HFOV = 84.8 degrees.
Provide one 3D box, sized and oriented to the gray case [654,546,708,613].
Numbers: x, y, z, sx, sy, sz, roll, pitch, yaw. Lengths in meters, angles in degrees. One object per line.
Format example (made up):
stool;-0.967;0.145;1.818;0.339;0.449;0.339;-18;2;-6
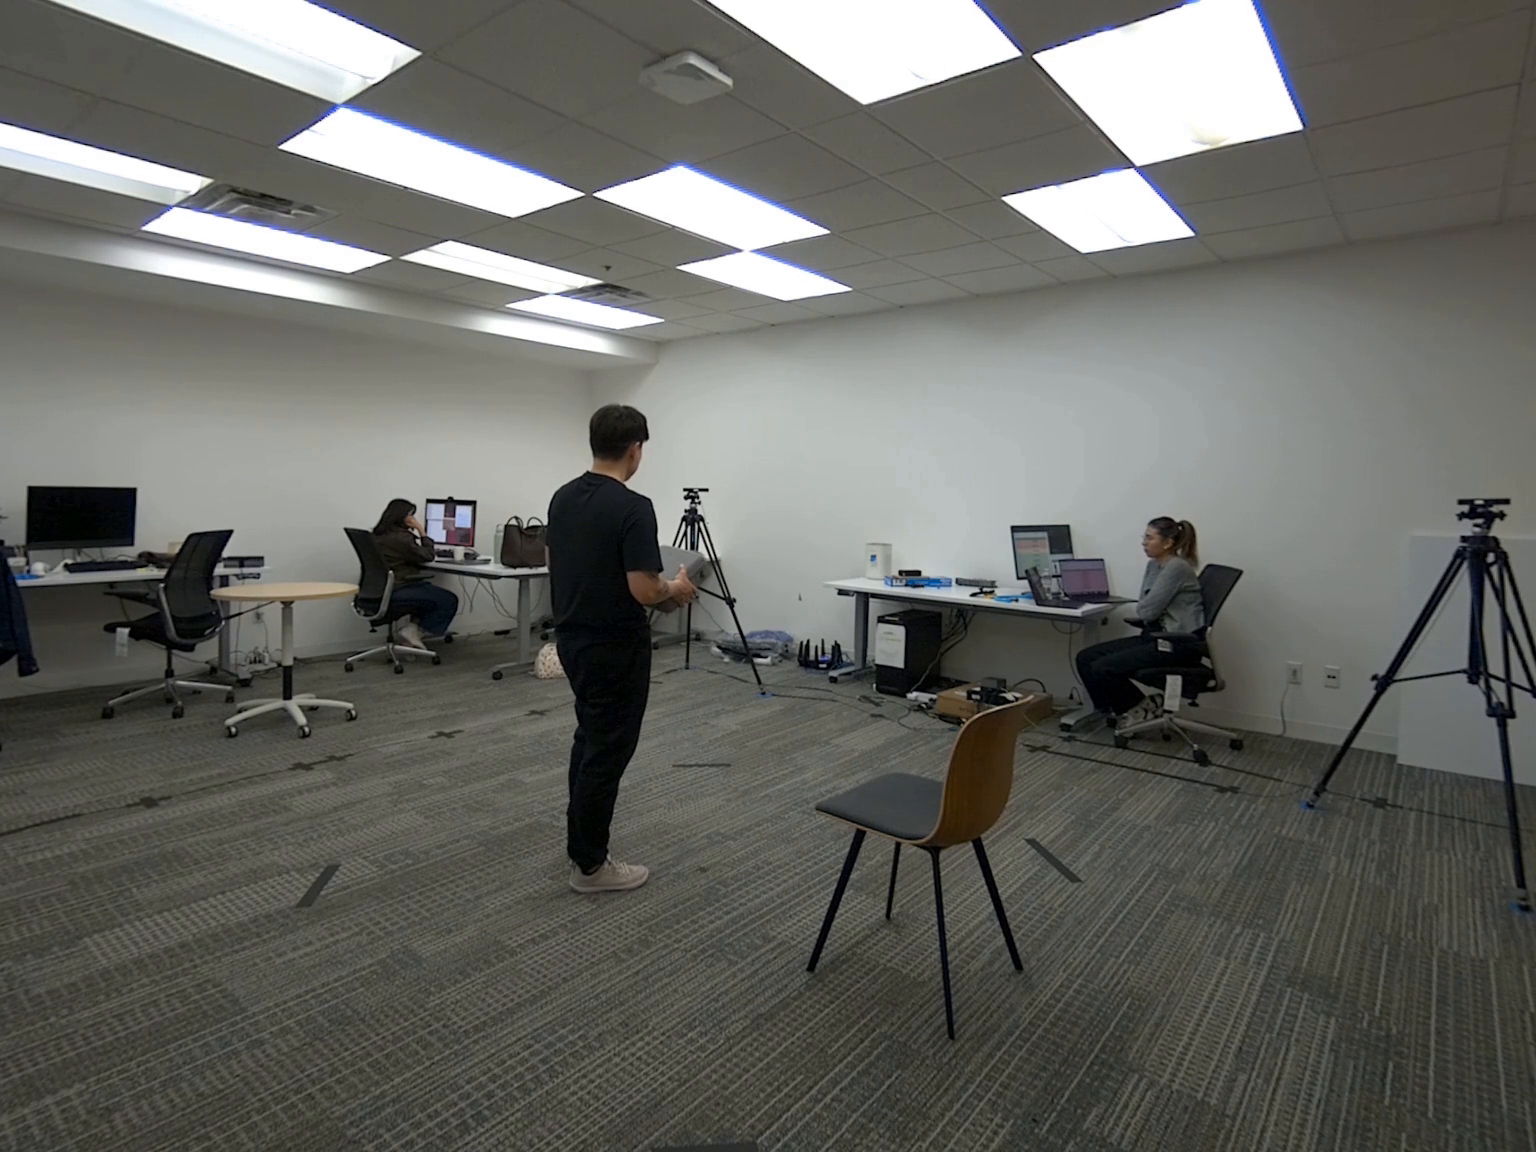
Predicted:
gray case;-0.387;-0.004;3.143;0.266;0.101;0.259;13;42;39
